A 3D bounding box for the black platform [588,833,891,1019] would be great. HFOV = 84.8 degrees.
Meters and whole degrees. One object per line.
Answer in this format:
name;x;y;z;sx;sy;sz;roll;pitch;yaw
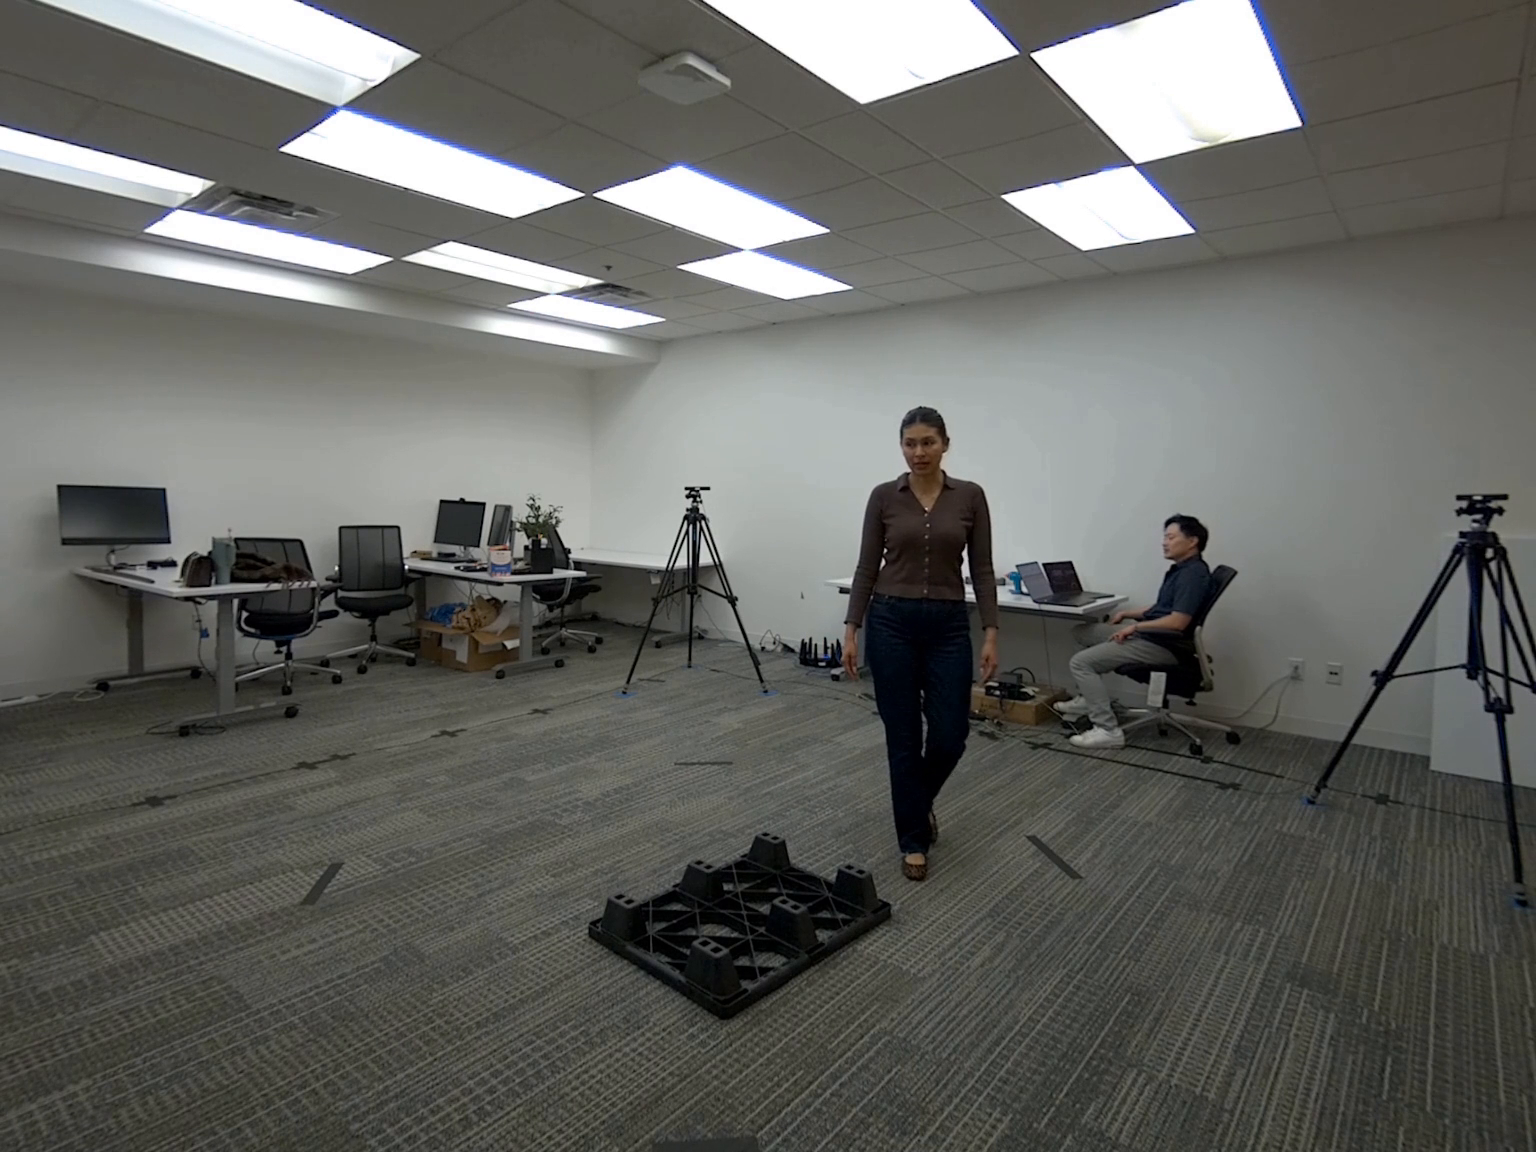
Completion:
black platform;-0.084;1.042;2.706;0.626;0.143;0.781;7;8;42
